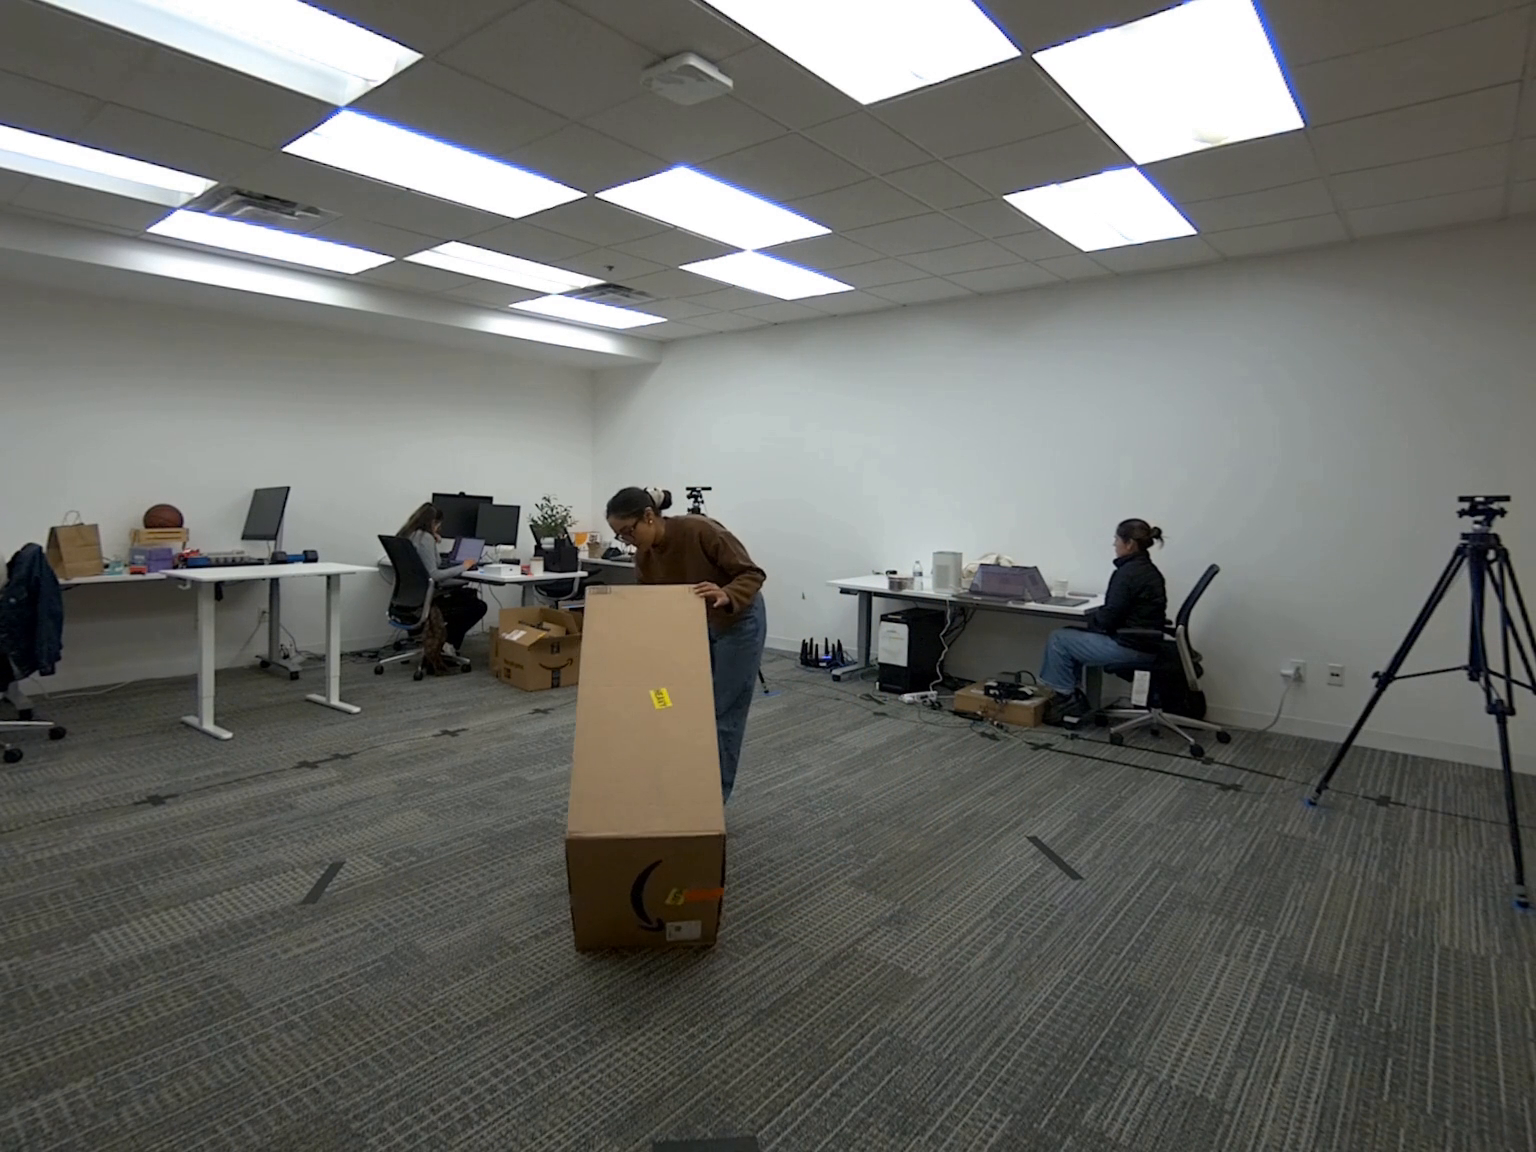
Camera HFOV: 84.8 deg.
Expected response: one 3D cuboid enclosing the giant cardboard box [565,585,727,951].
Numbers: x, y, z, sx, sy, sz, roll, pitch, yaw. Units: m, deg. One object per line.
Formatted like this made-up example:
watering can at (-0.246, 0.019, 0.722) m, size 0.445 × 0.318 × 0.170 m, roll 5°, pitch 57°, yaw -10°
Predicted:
giant cardboard box at (-0.396, 0.576, 2.796) m, size 0.443 × 0.570 × 1.061 m, roll 0°, pitch 38°, yaw -8°
